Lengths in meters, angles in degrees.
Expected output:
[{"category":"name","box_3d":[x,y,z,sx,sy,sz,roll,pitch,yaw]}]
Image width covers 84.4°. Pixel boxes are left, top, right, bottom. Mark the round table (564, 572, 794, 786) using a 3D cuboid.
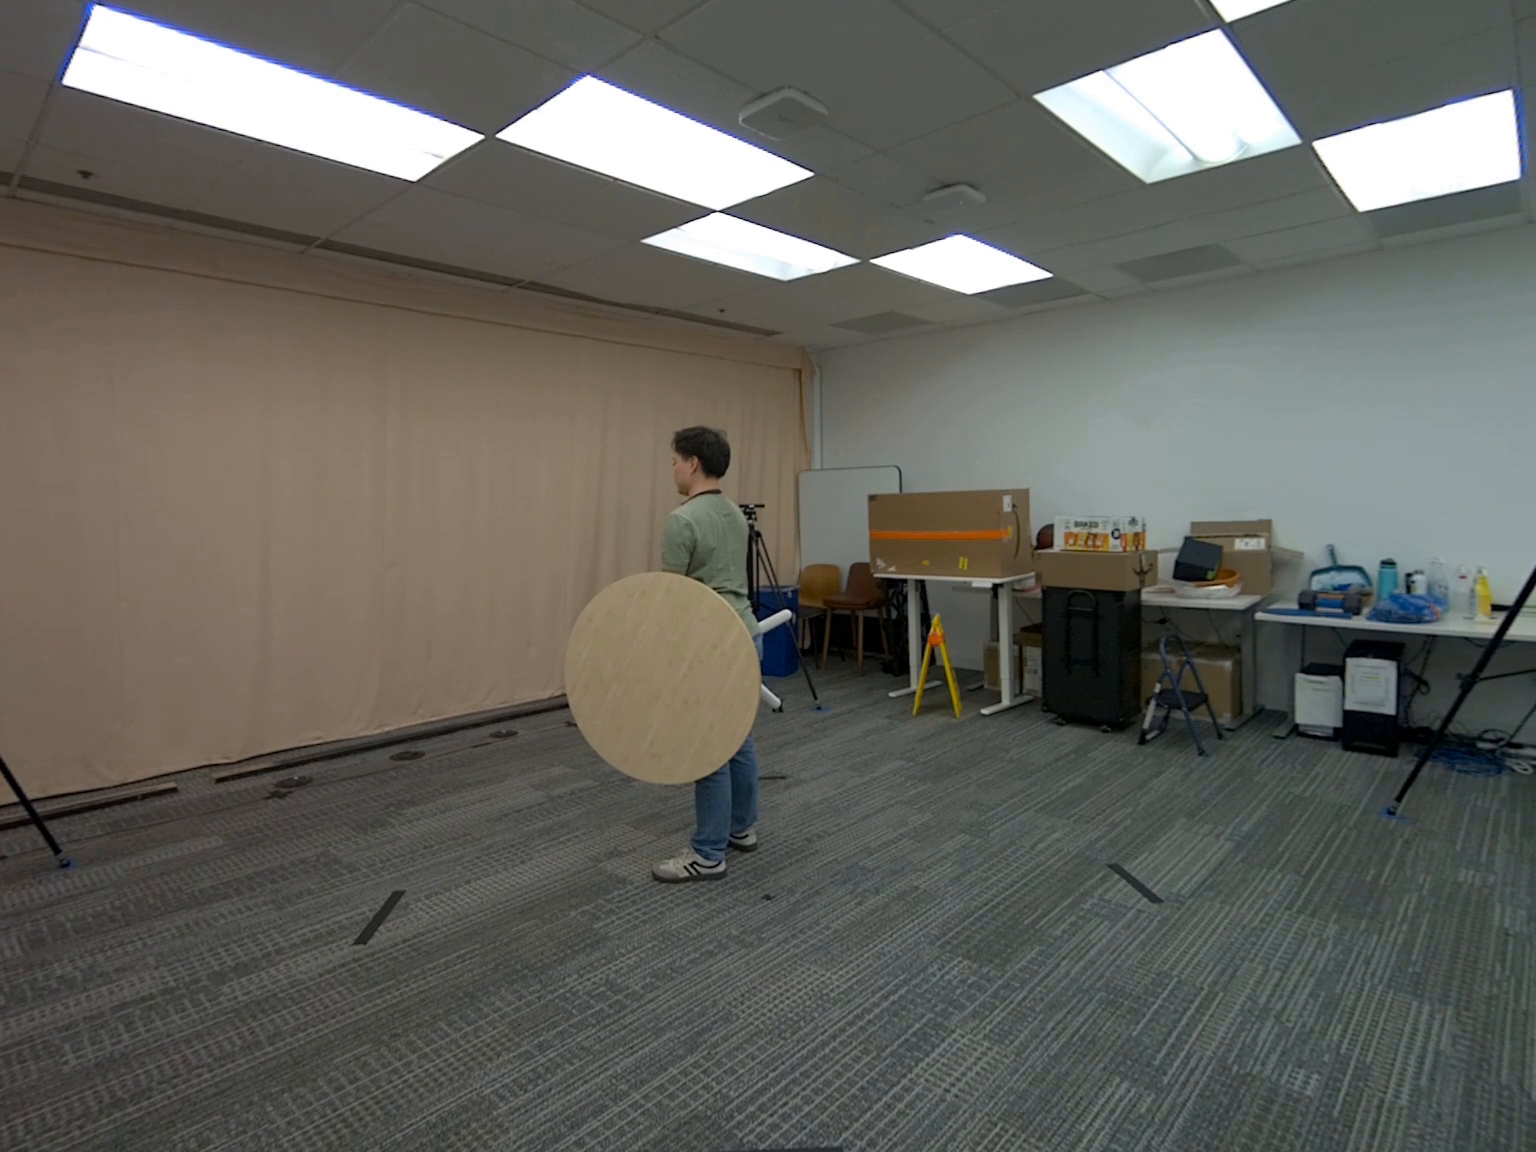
[{"category":"round table","box_3d":[-0.291,0.350,3.410,0.779,0.763,0.780,0,3,18]}]
